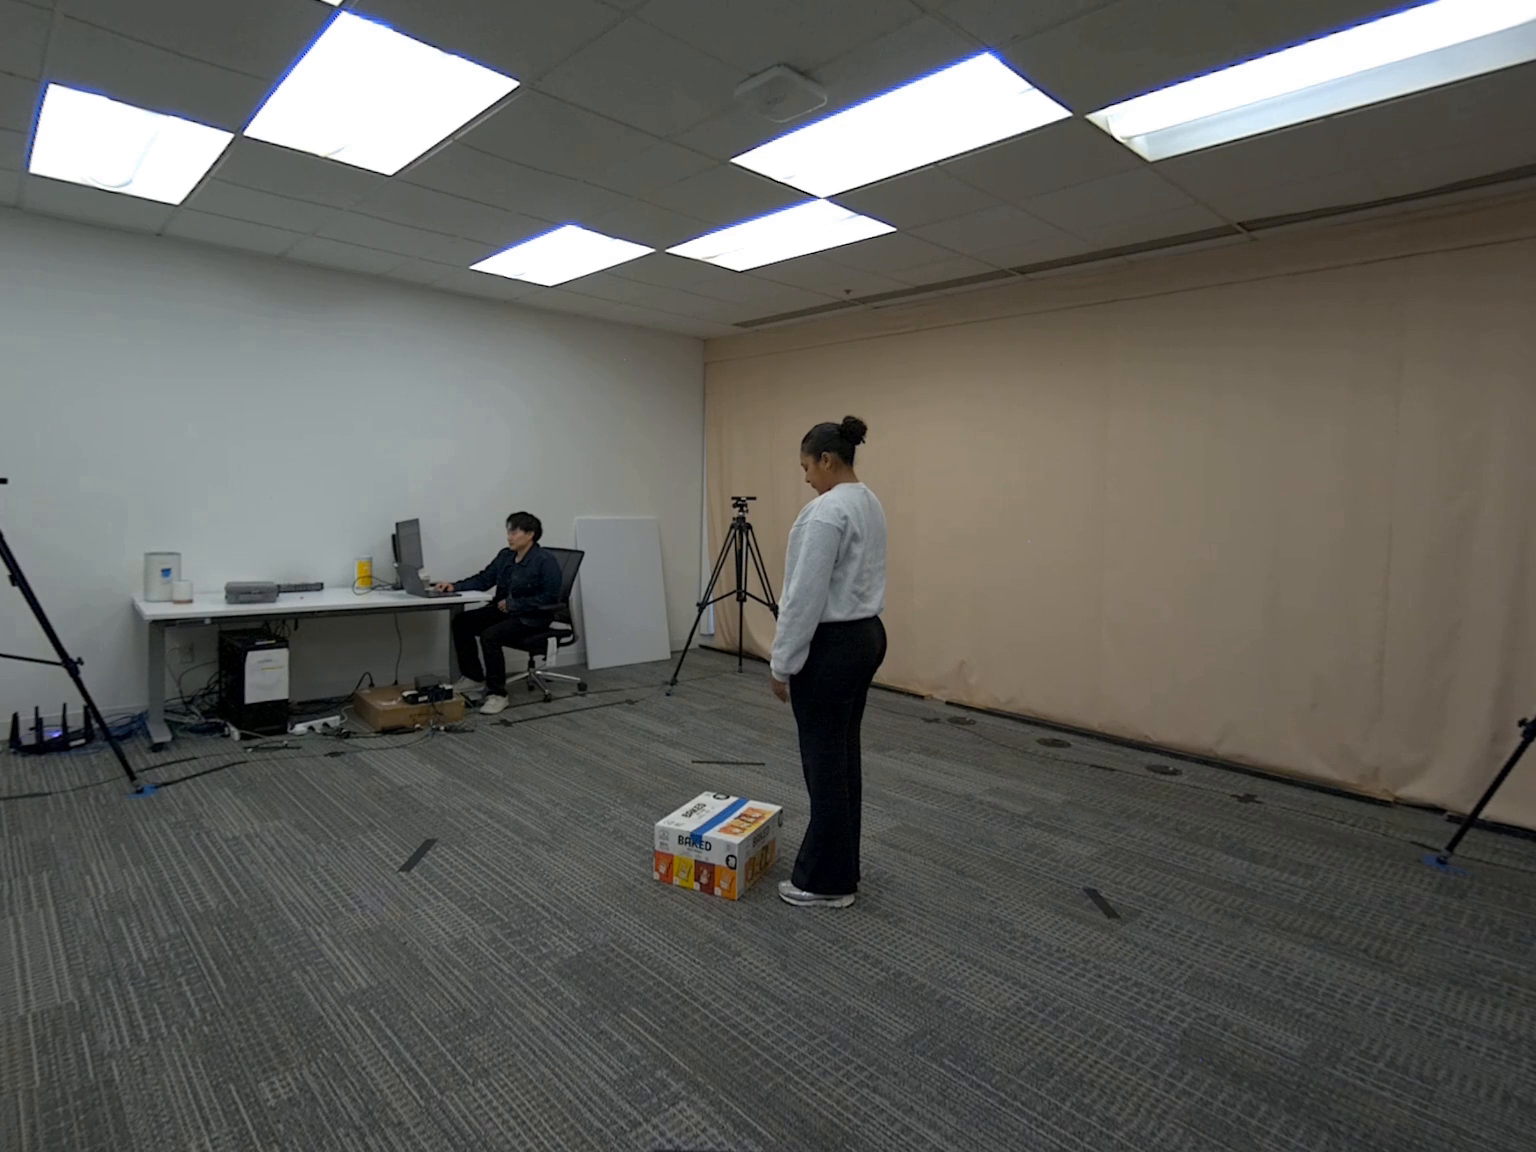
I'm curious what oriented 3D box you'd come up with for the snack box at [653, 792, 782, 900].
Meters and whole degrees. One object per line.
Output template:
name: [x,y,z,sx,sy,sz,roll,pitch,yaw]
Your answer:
snack box: [-0.188,1.000,3.160,0.347,0.205,0.398,4,6,25]
